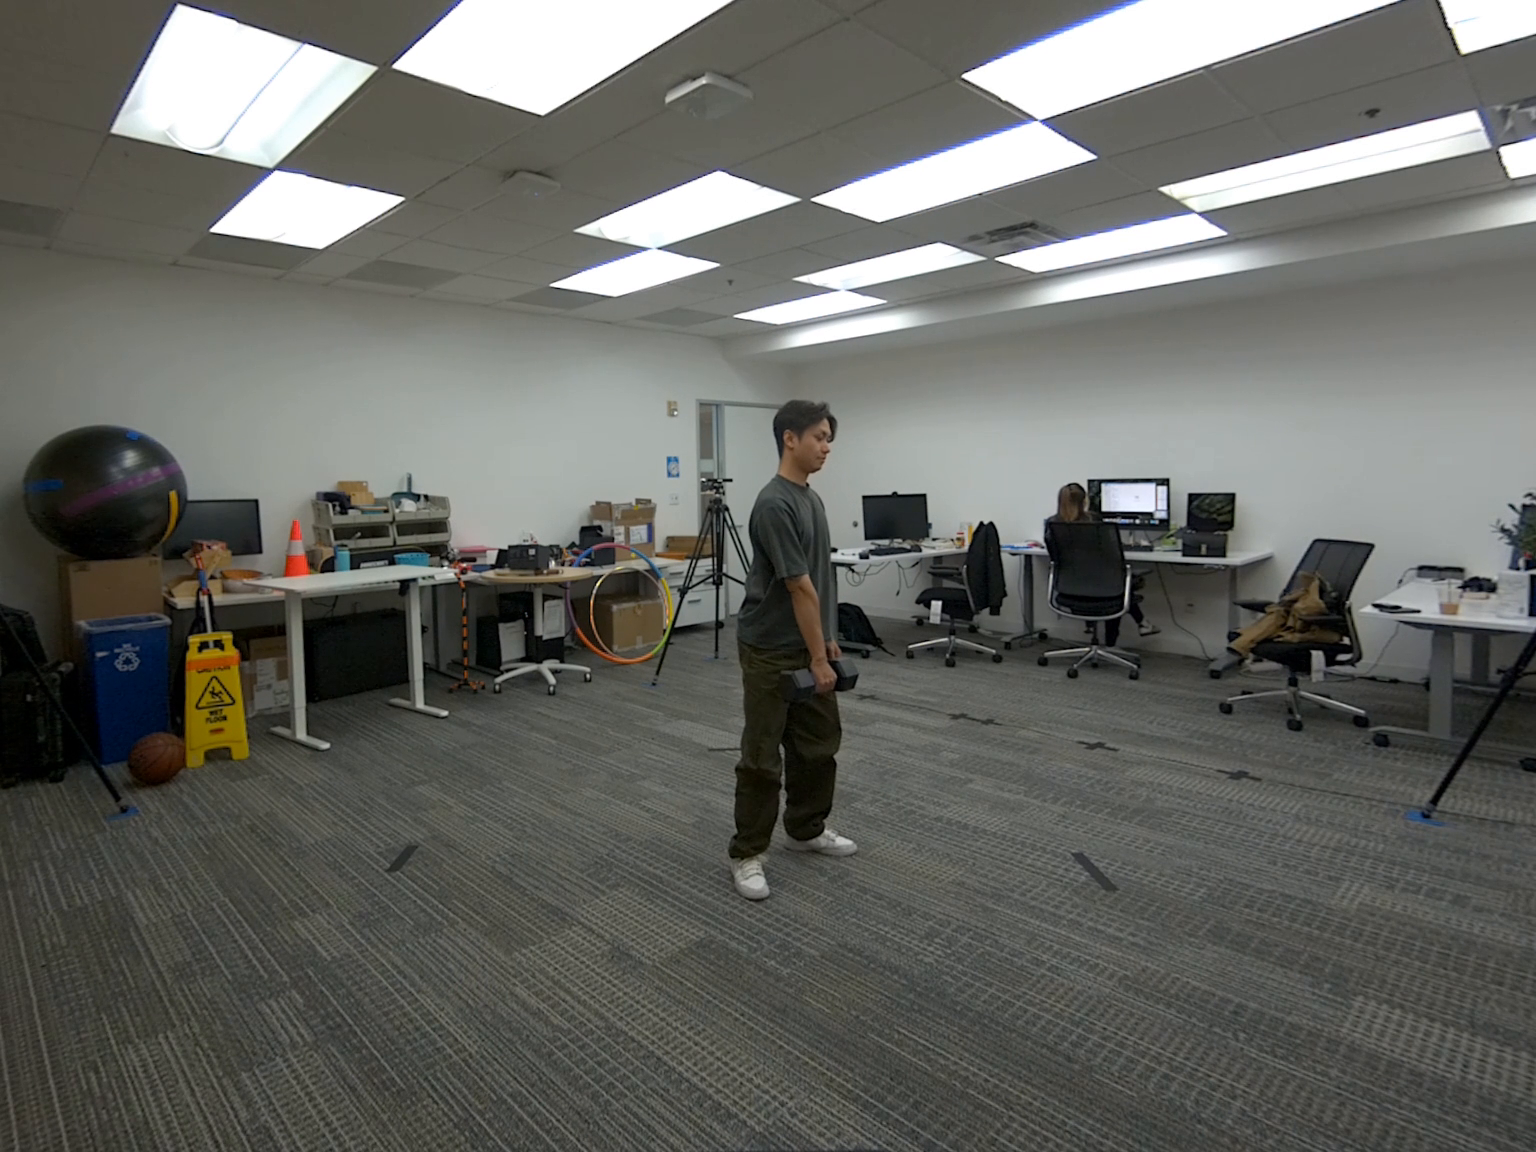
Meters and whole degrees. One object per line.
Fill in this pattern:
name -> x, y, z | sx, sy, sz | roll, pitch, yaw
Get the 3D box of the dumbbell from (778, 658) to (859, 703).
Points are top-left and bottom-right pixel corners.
dumbbell -> 0.169, 0.354, 2.900 | 0.286, 0.121, 0.113 | -8, 32, -39
